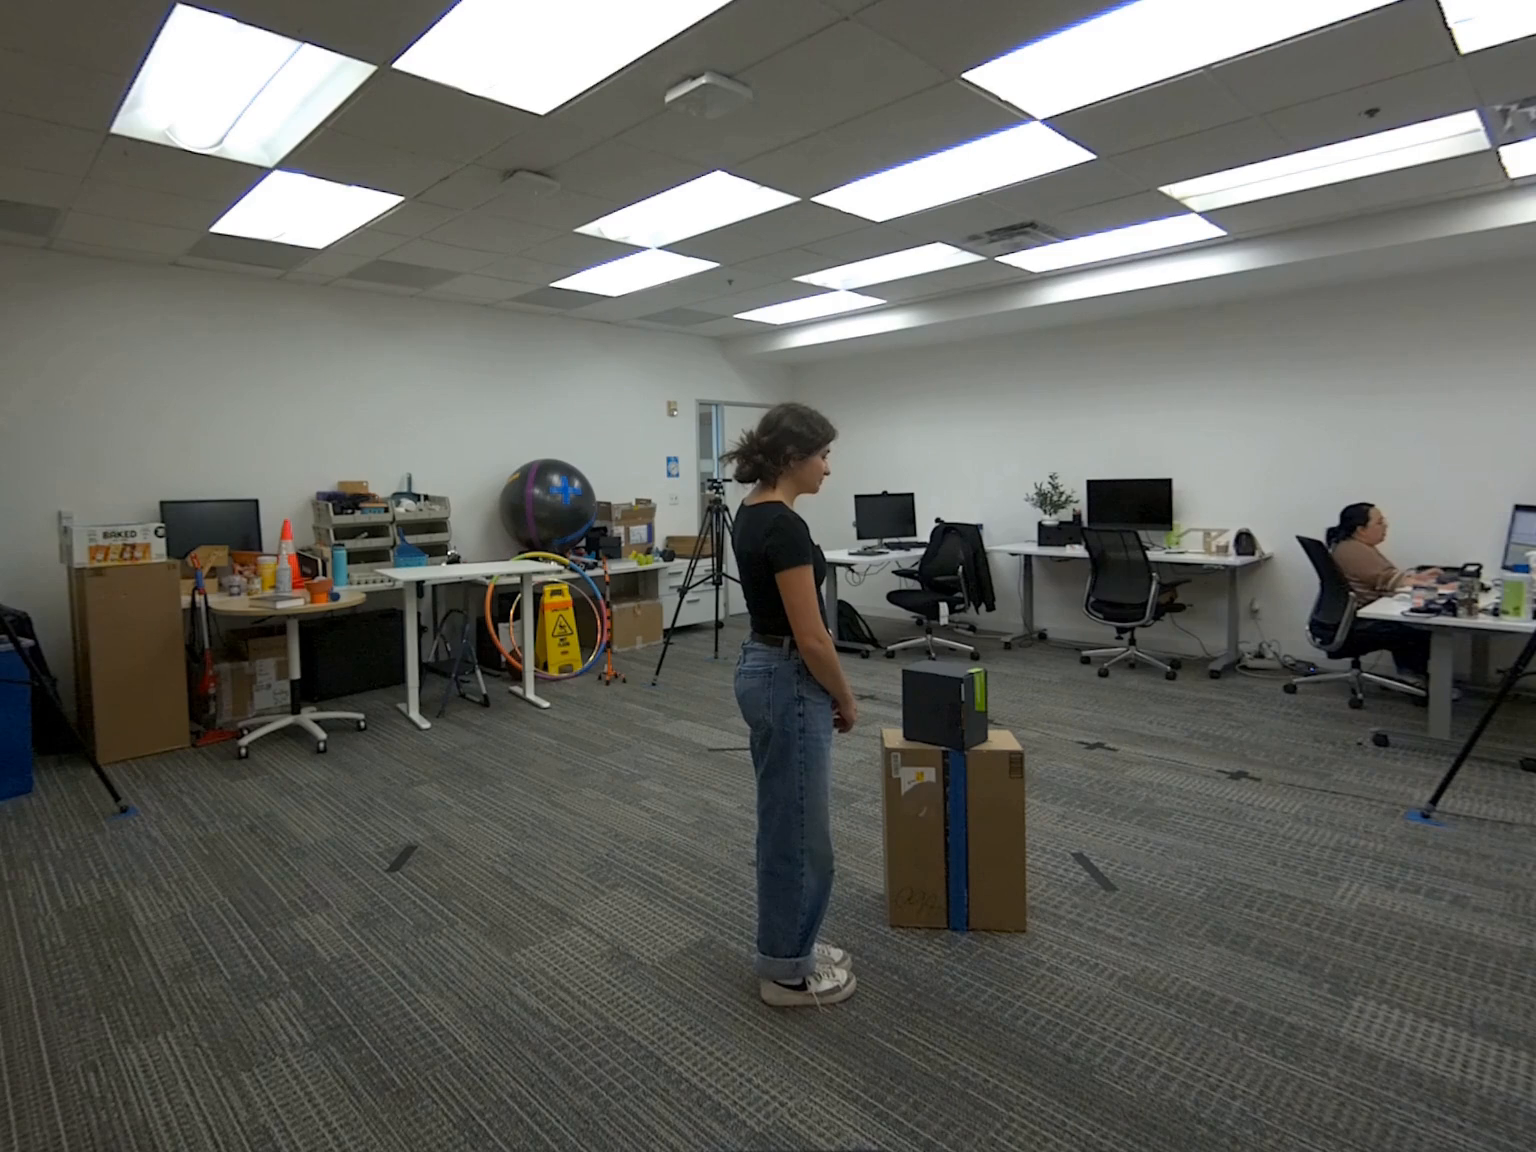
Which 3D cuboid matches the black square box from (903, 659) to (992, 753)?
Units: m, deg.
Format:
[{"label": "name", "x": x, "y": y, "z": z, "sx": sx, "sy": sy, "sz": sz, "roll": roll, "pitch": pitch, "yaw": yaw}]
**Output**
[{"label": "black square box", "x": 0.561, "y": 0.399, "z": 2.686, "sx": 0.223, "sy": 0.227, "sz": 0.152, "roll": 3, "pitch": 5, "yaw": 44}]
